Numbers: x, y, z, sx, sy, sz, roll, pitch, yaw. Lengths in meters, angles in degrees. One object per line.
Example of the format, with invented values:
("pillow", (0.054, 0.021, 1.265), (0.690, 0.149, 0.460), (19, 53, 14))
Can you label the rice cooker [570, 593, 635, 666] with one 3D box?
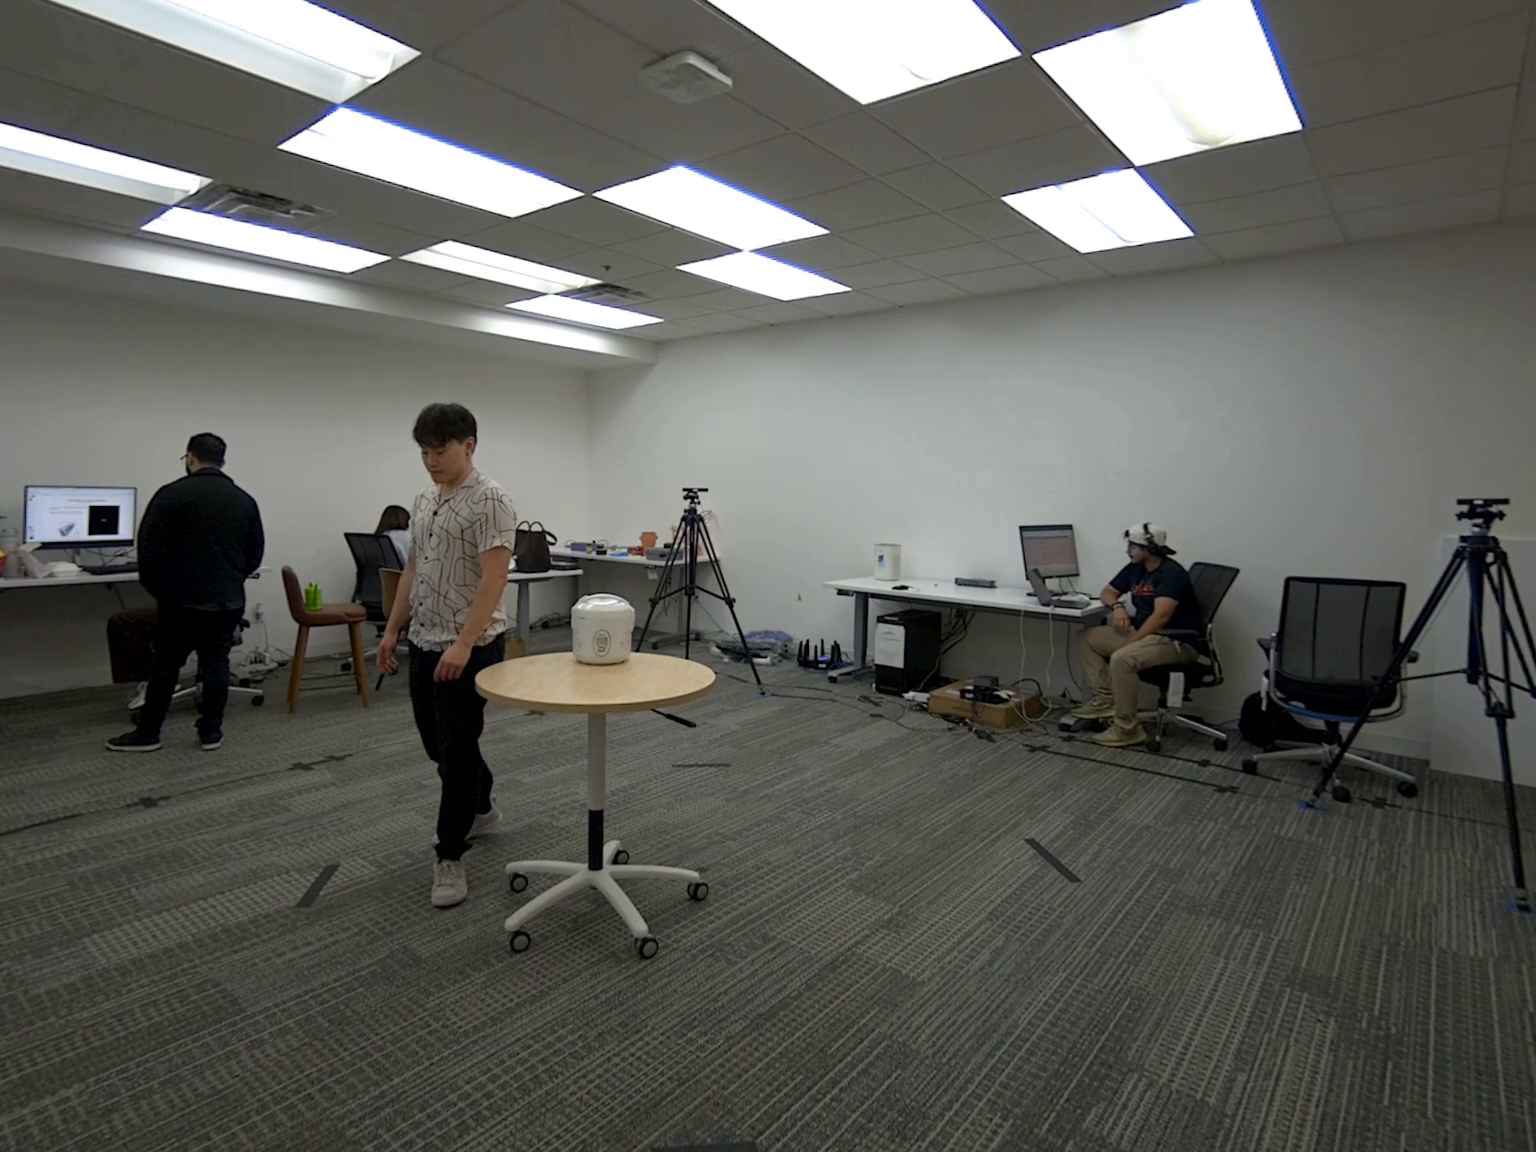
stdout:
("rice cooker", (-0.588, 0.179, 2.962), (0.218, 0.232, 0.220), (0, 4, -9))
